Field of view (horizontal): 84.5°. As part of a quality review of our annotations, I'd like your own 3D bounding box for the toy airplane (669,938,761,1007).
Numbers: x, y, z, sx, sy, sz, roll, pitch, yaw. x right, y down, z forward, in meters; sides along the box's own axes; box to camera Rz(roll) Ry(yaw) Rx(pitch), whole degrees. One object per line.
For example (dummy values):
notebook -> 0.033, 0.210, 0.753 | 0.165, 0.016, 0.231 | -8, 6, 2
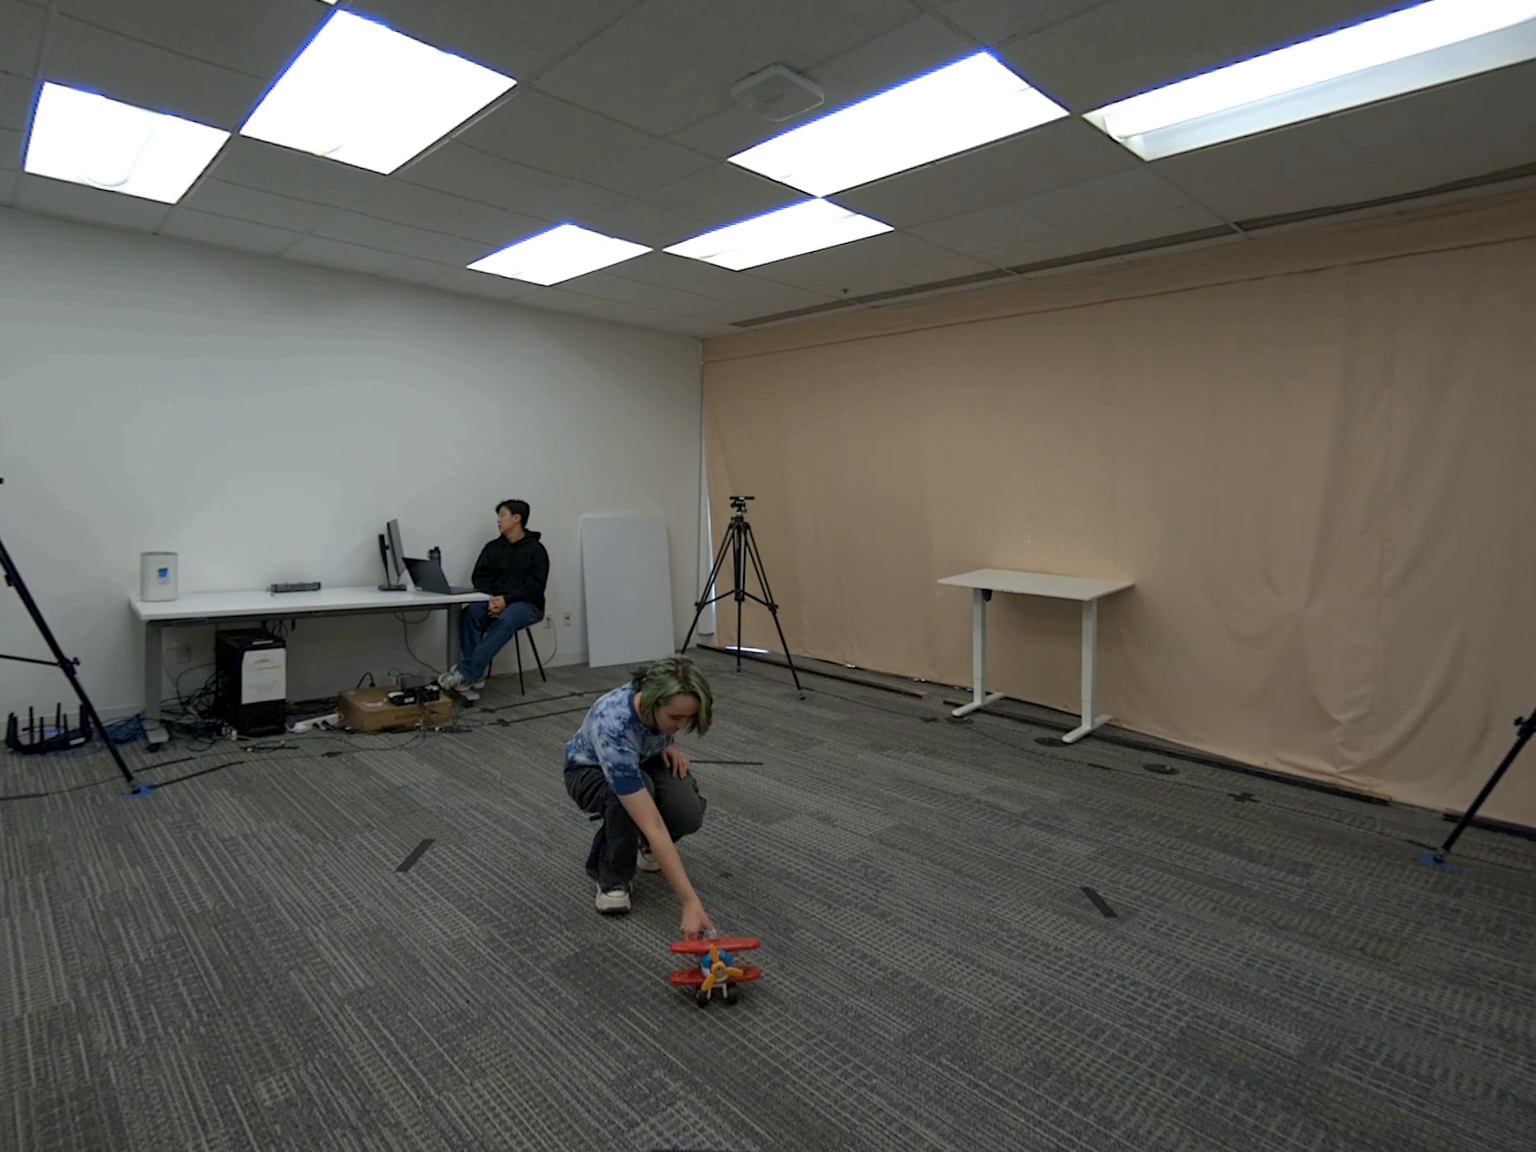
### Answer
toy airplane -> -0.179, 1.100, 2.378 | 0.246, 0.156, 0.266 | -4, 7, -35
